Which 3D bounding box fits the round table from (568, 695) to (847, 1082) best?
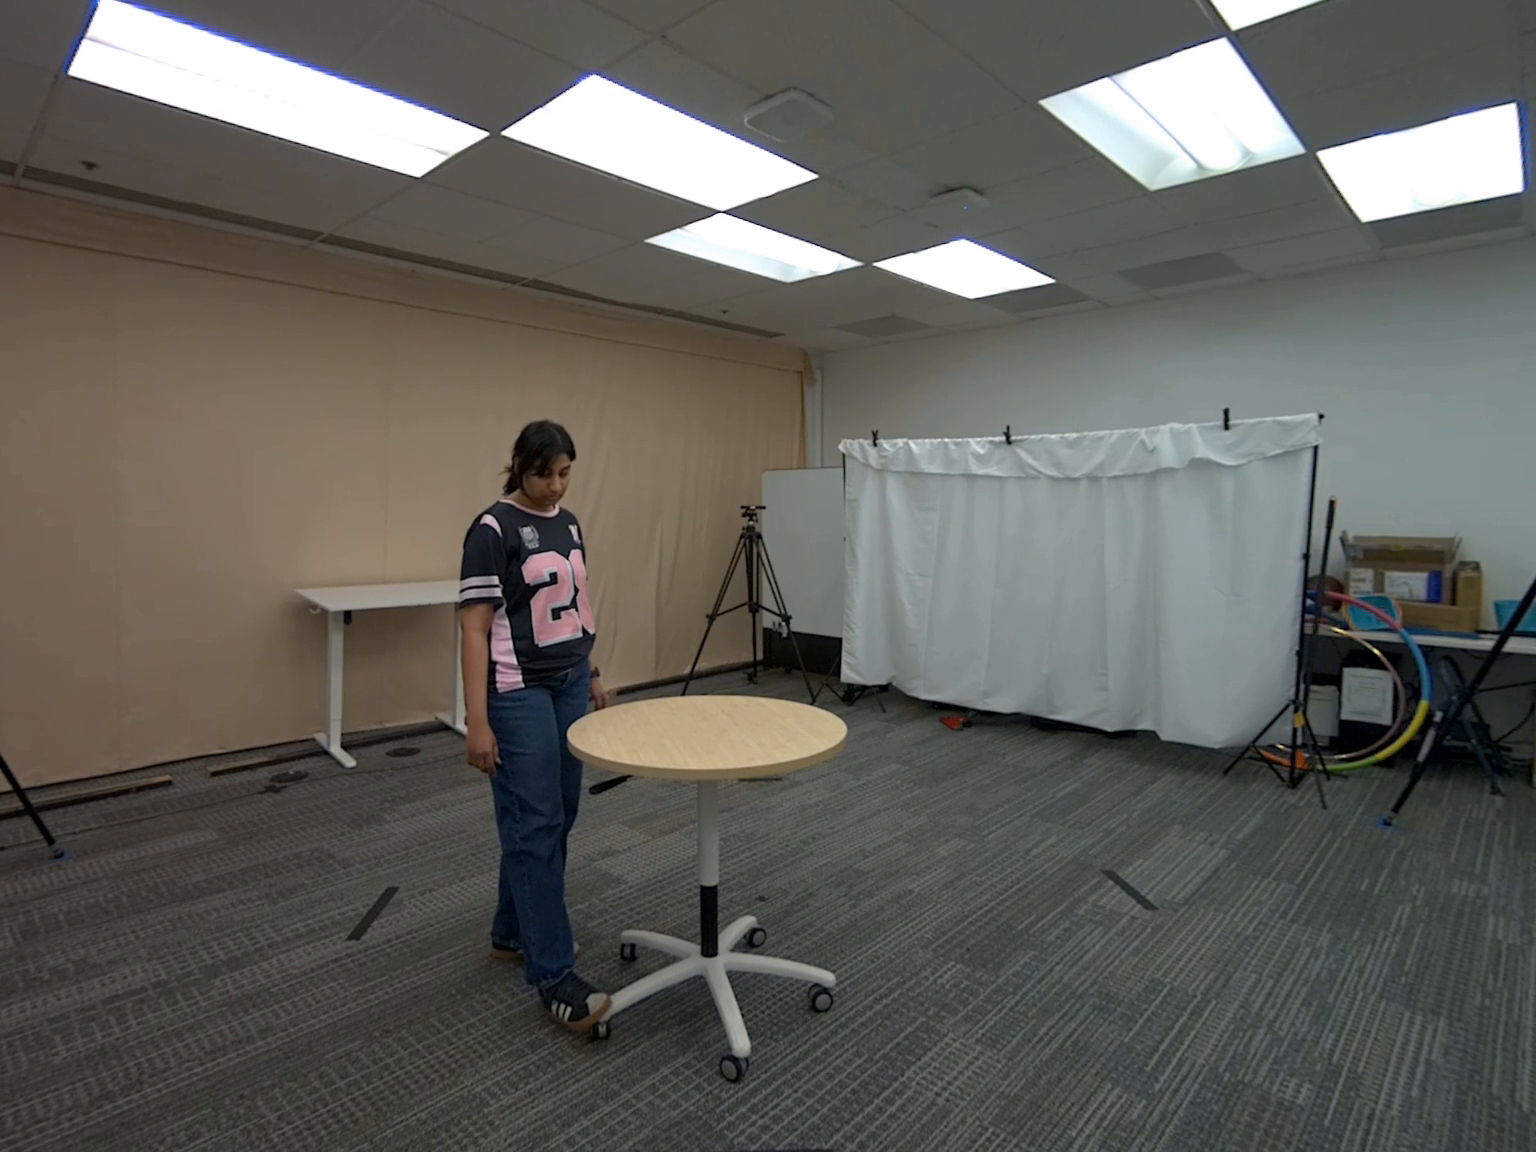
[{"bbox_3d":[-0.159,0.814,2.339,0.763,0.792,0.766,-1,3,-2],"label":"round table"}]
